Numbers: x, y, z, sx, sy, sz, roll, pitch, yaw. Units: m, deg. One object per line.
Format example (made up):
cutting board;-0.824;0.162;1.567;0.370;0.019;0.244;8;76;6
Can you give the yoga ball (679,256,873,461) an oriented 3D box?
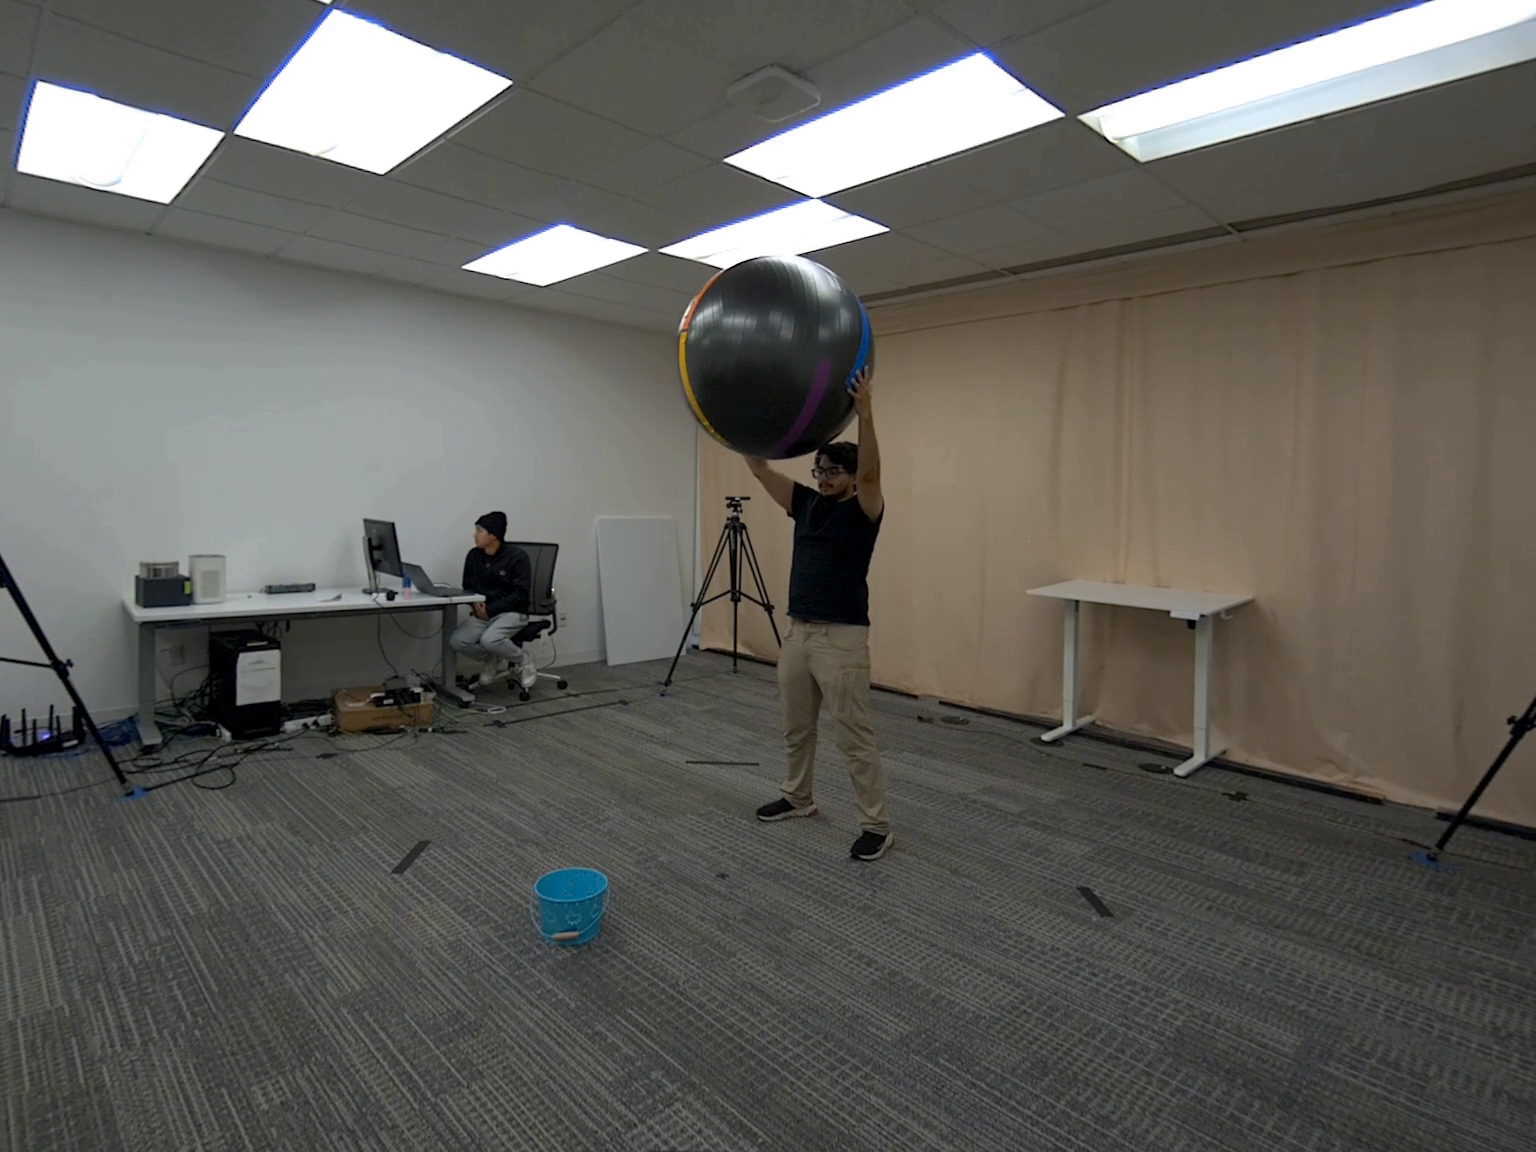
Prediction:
yoga ball;0.013;-0.809;3.197;0.757;0.756;0.760;1;4;-1
